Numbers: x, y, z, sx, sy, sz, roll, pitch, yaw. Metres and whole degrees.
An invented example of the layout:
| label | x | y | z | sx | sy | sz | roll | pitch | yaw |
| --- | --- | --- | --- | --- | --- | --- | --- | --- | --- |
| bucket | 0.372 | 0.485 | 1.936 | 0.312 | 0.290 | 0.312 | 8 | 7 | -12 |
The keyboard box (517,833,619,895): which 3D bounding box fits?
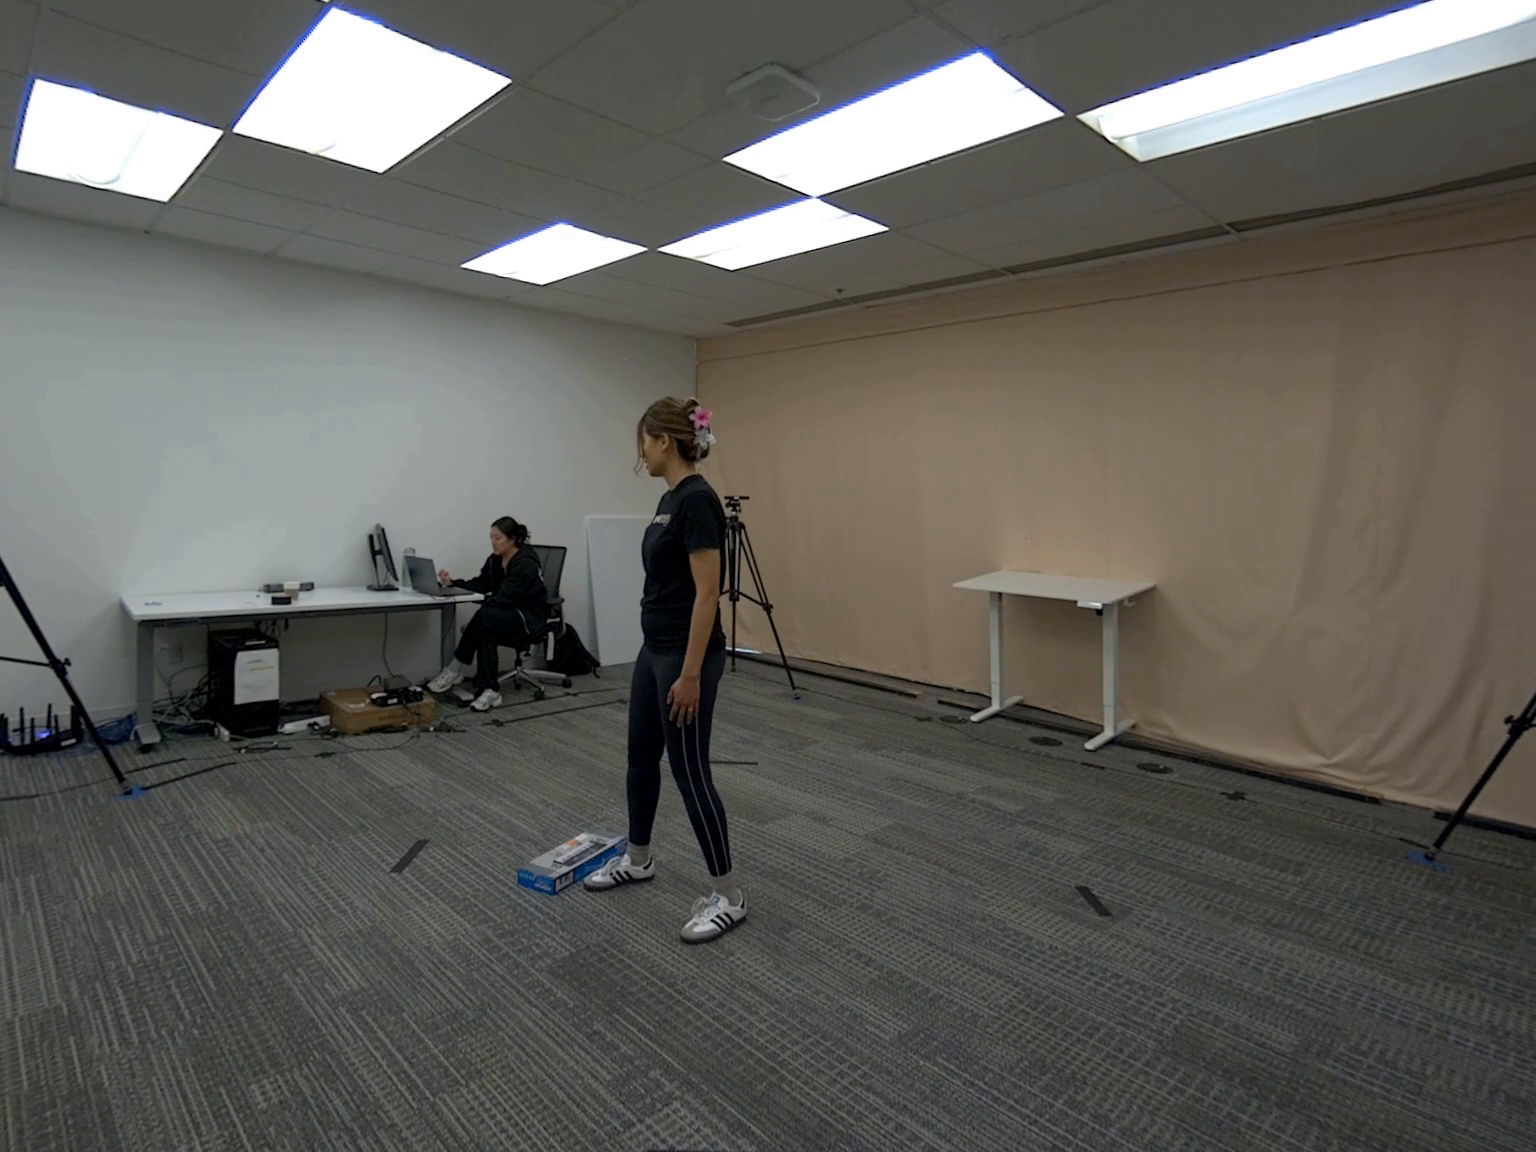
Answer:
| label | x | y | z | sx | sy | sz | roll | pitch | yaw |
| --- | --- | --- | --- | --- | --- | --- | --- | --- | --- |
| keyboard box | -0.728 | 1.058 | 3.141 | 0.179 | 0.059 | 0.429 | 3 | 6 | 27 |
